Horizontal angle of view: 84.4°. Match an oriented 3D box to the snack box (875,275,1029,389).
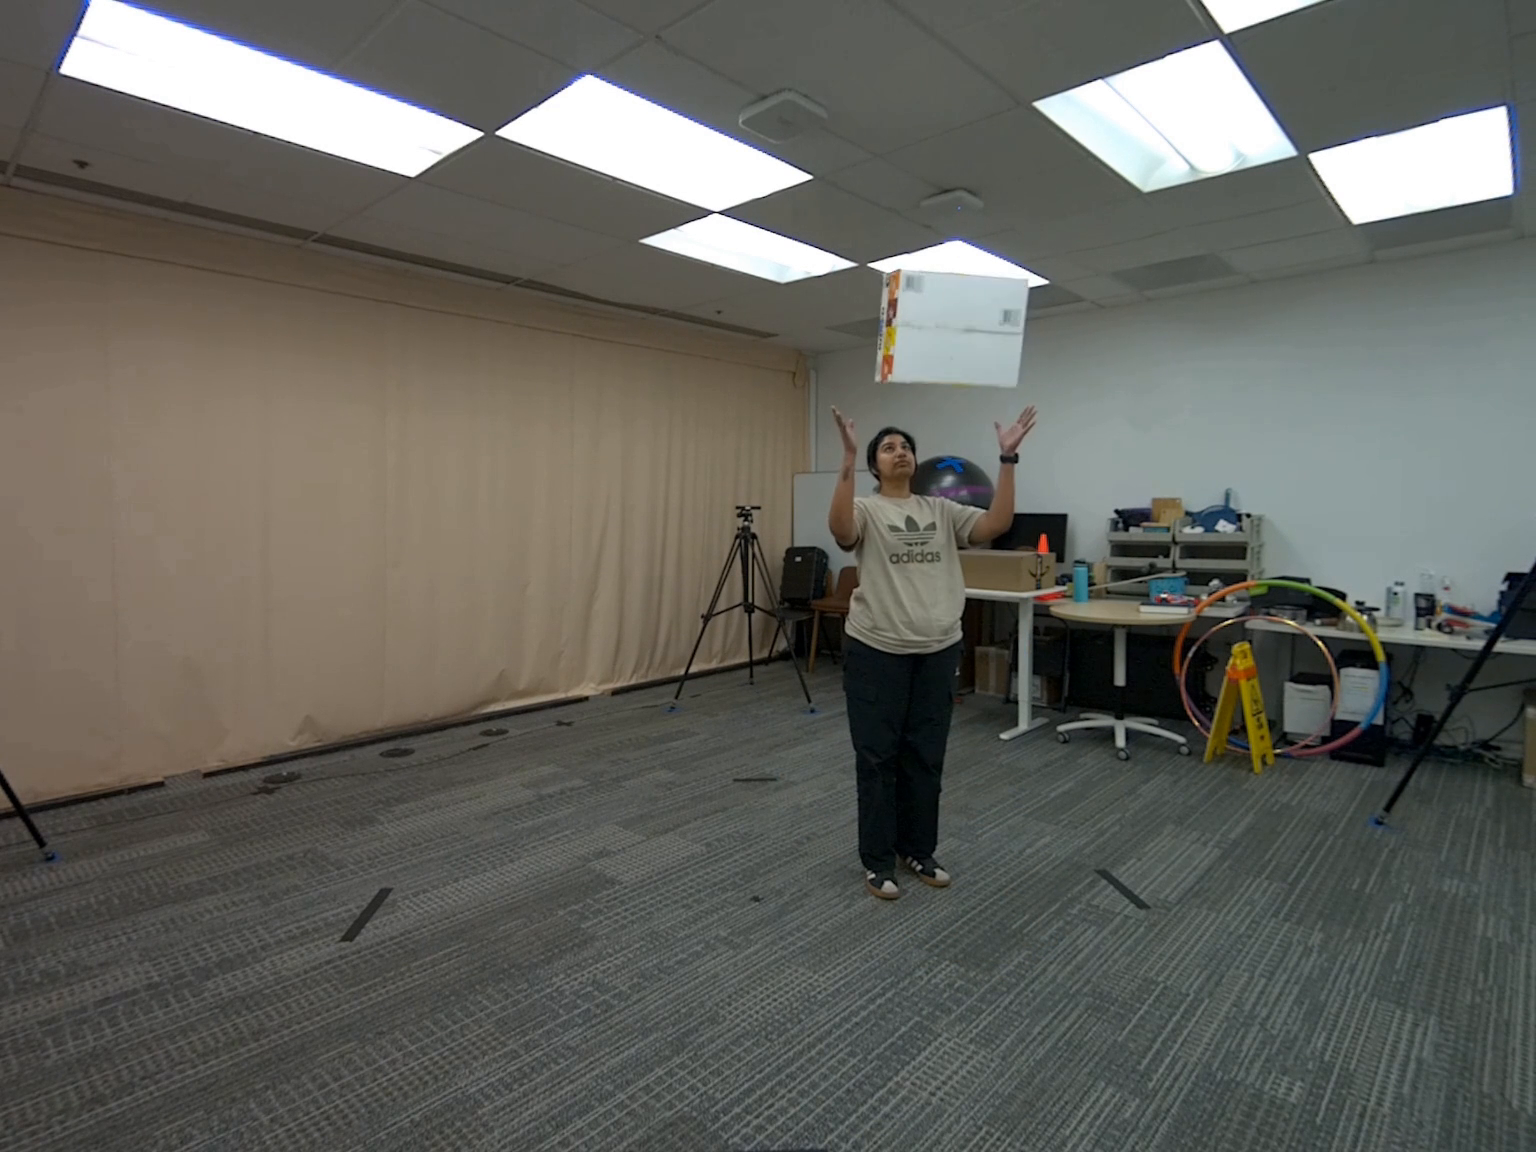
[{"bbox_3d":[0.578,-0.716,2.649,0.404,0.338,0.208,3,13,-4],"label":"snack box"}]
